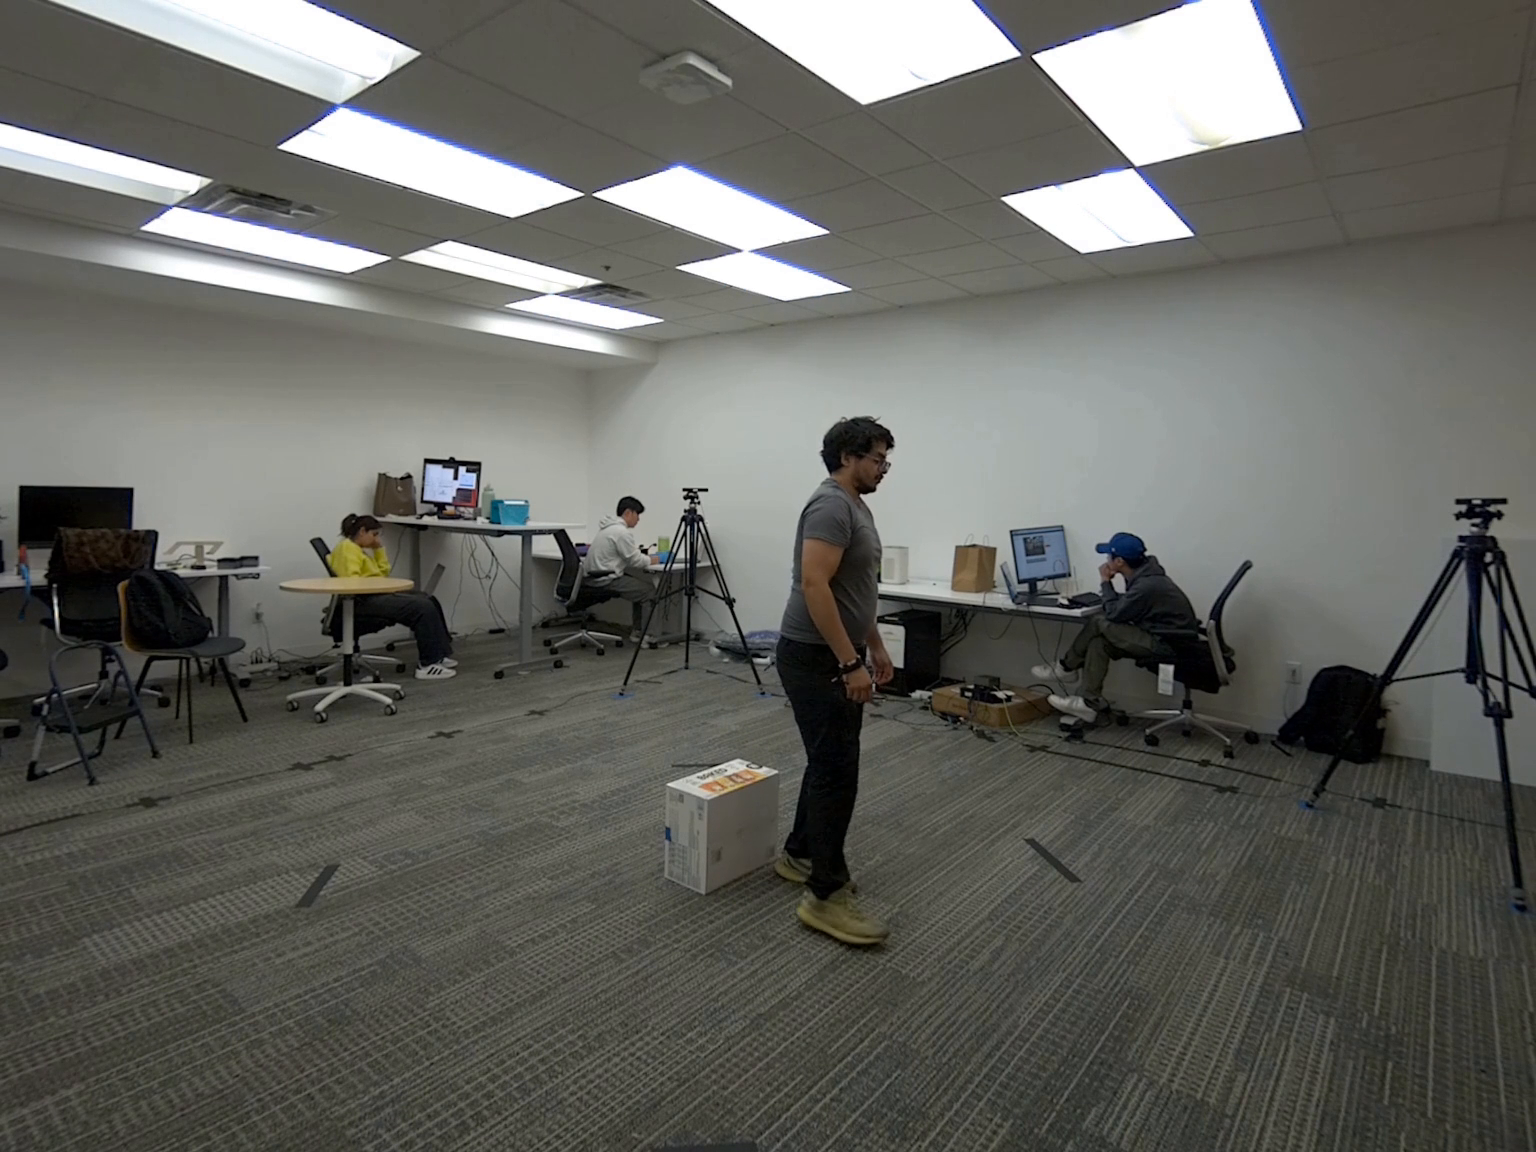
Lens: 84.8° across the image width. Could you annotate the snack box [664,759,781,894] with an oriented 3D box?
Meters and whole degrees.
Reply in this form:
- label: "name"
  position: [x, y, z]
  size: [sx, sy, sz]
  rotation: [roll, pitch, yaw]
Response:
- label: "snack box"
  position: [-0.173, 0.901, 3.110]
  size: [0.212, 0.339, 0.393]
  rotation: [4, 6, 40]
